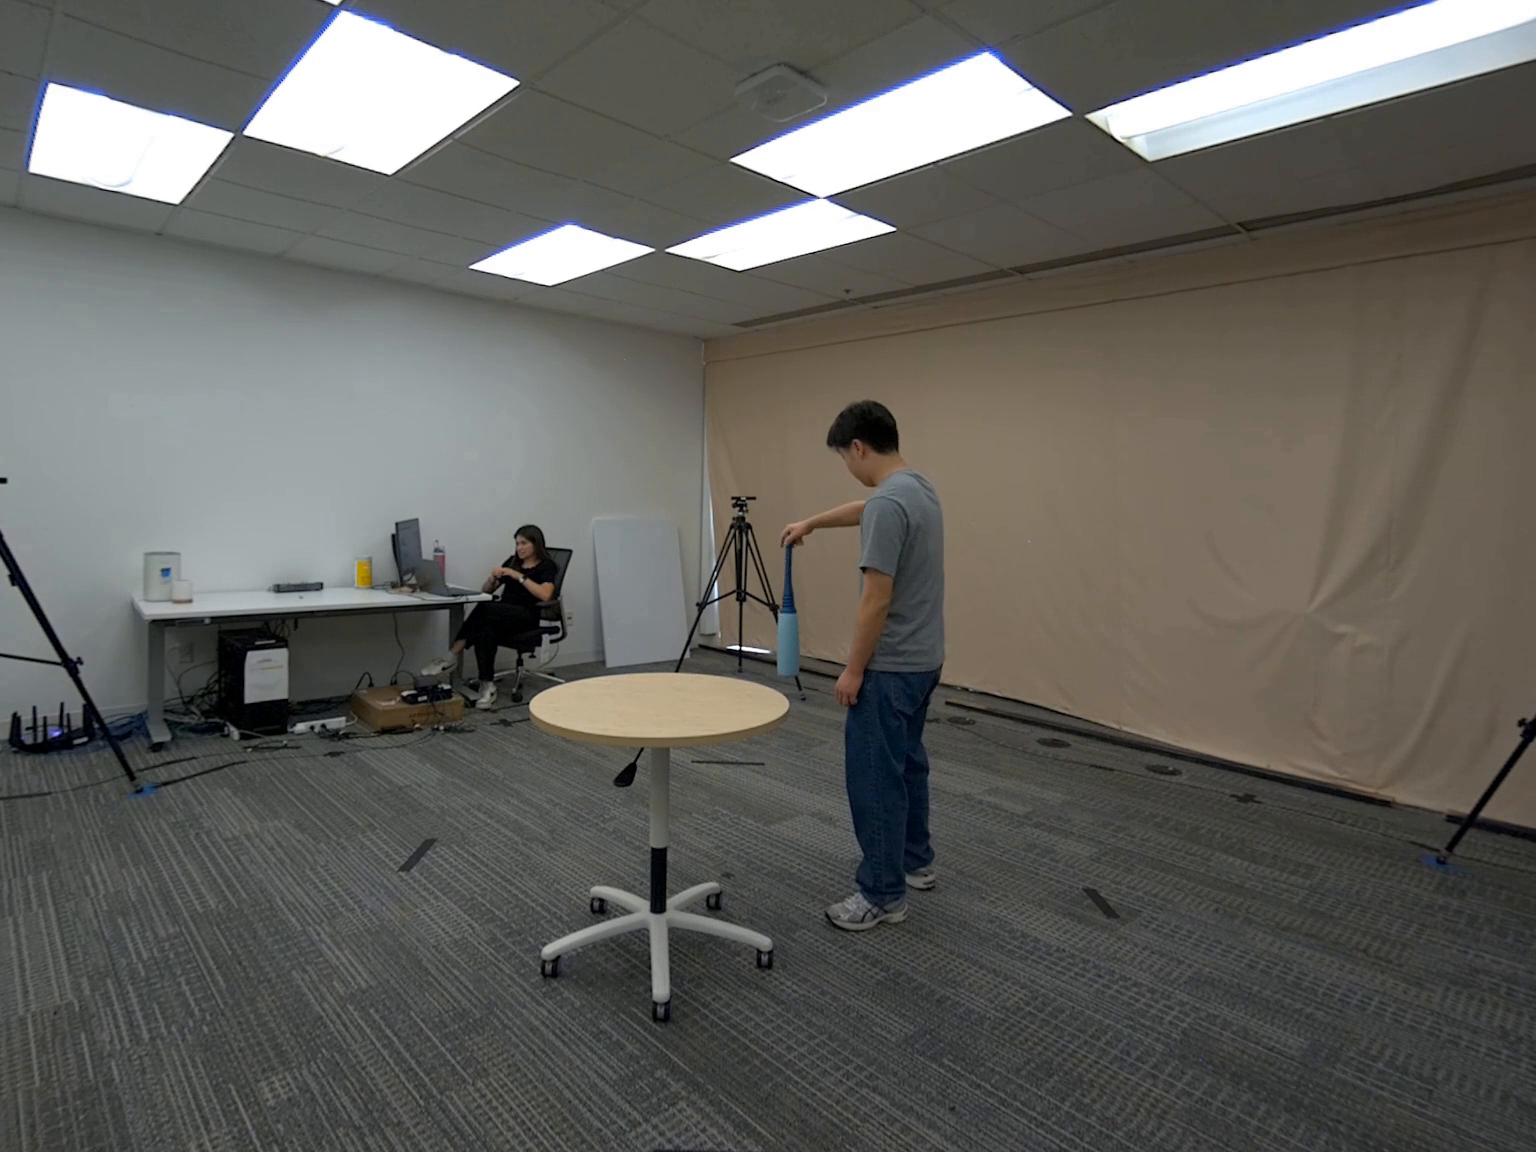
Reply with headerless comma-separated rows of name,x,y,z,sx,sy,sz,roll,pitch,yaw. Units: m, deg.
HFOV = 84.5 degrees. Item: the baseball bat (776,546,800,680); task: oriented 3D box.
baseball bat,0.085,0.127,3.303,0.089,0.542,0.089,-1,1,-1
